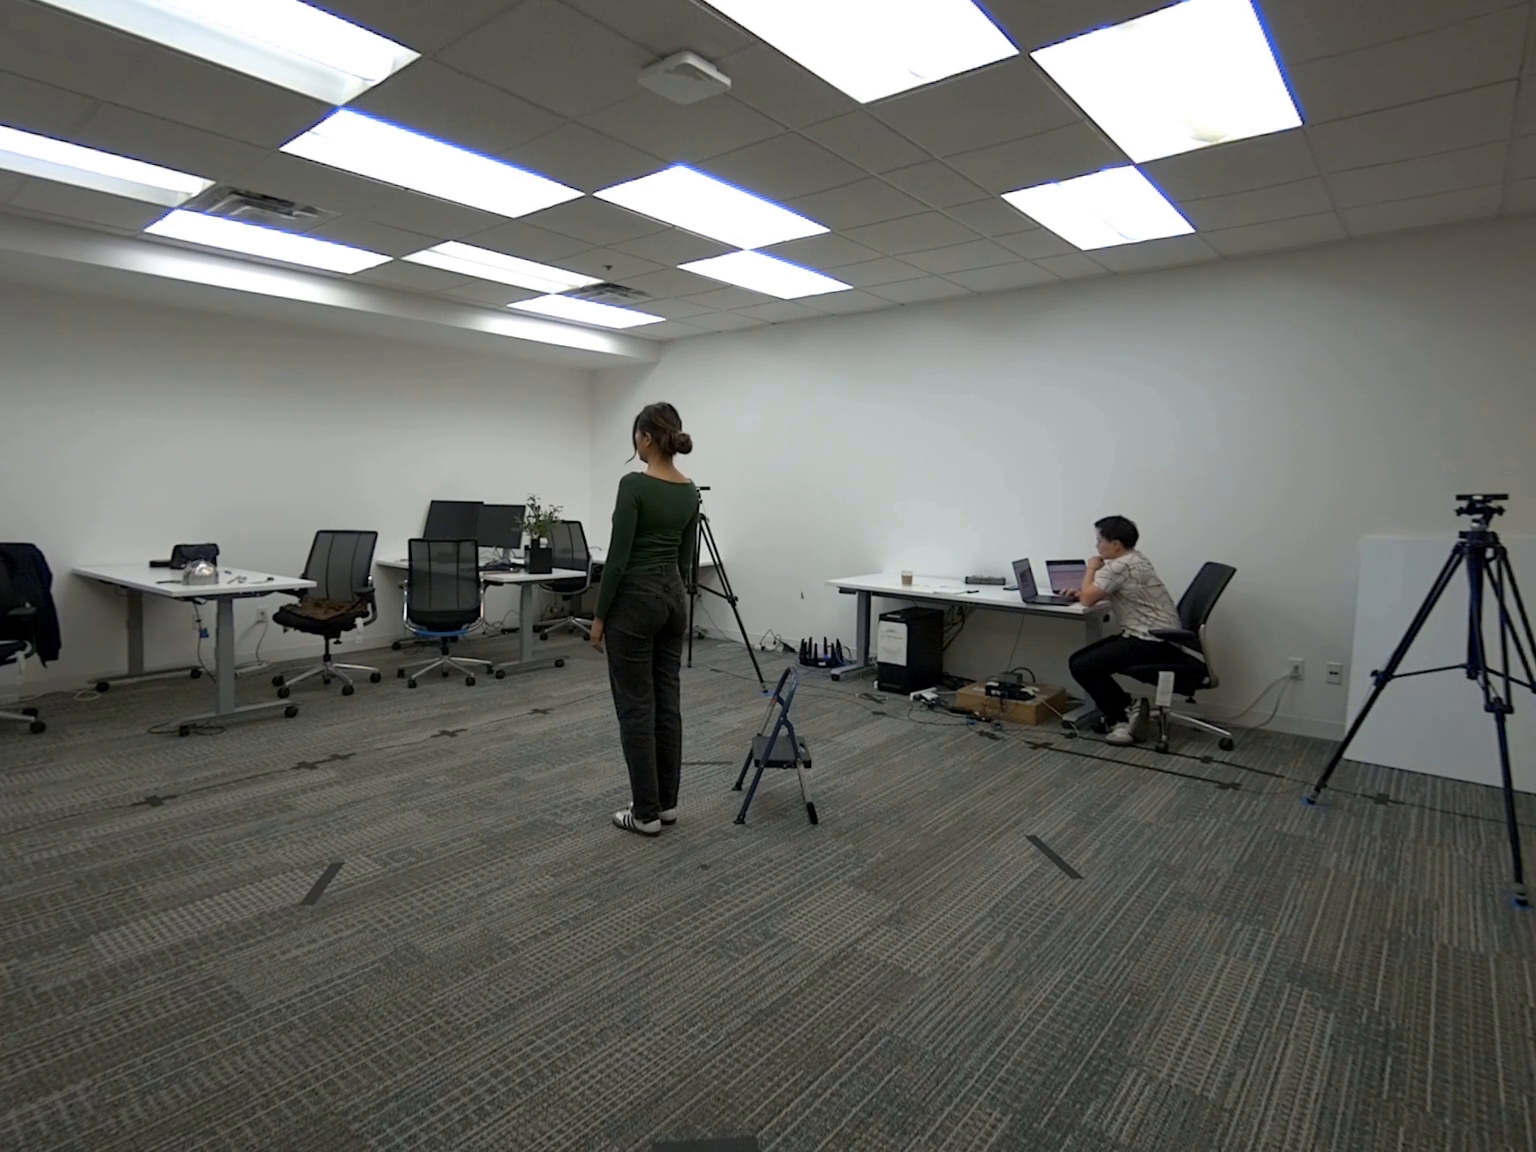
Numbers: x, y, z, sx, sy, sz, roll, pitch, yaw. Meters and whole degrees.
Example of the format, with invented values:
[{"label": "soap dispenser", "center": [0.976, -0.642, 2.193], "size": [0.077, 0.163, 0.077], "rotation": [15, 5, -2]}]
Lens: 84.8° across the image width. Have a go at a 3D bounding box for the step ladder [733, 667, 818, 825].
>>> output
[{"label": "step ladder", "center": [0.020, 0.708, 3.722], "size": [0.349, 0.604, 0.433], "rotation": [0, 4, -2]}]
